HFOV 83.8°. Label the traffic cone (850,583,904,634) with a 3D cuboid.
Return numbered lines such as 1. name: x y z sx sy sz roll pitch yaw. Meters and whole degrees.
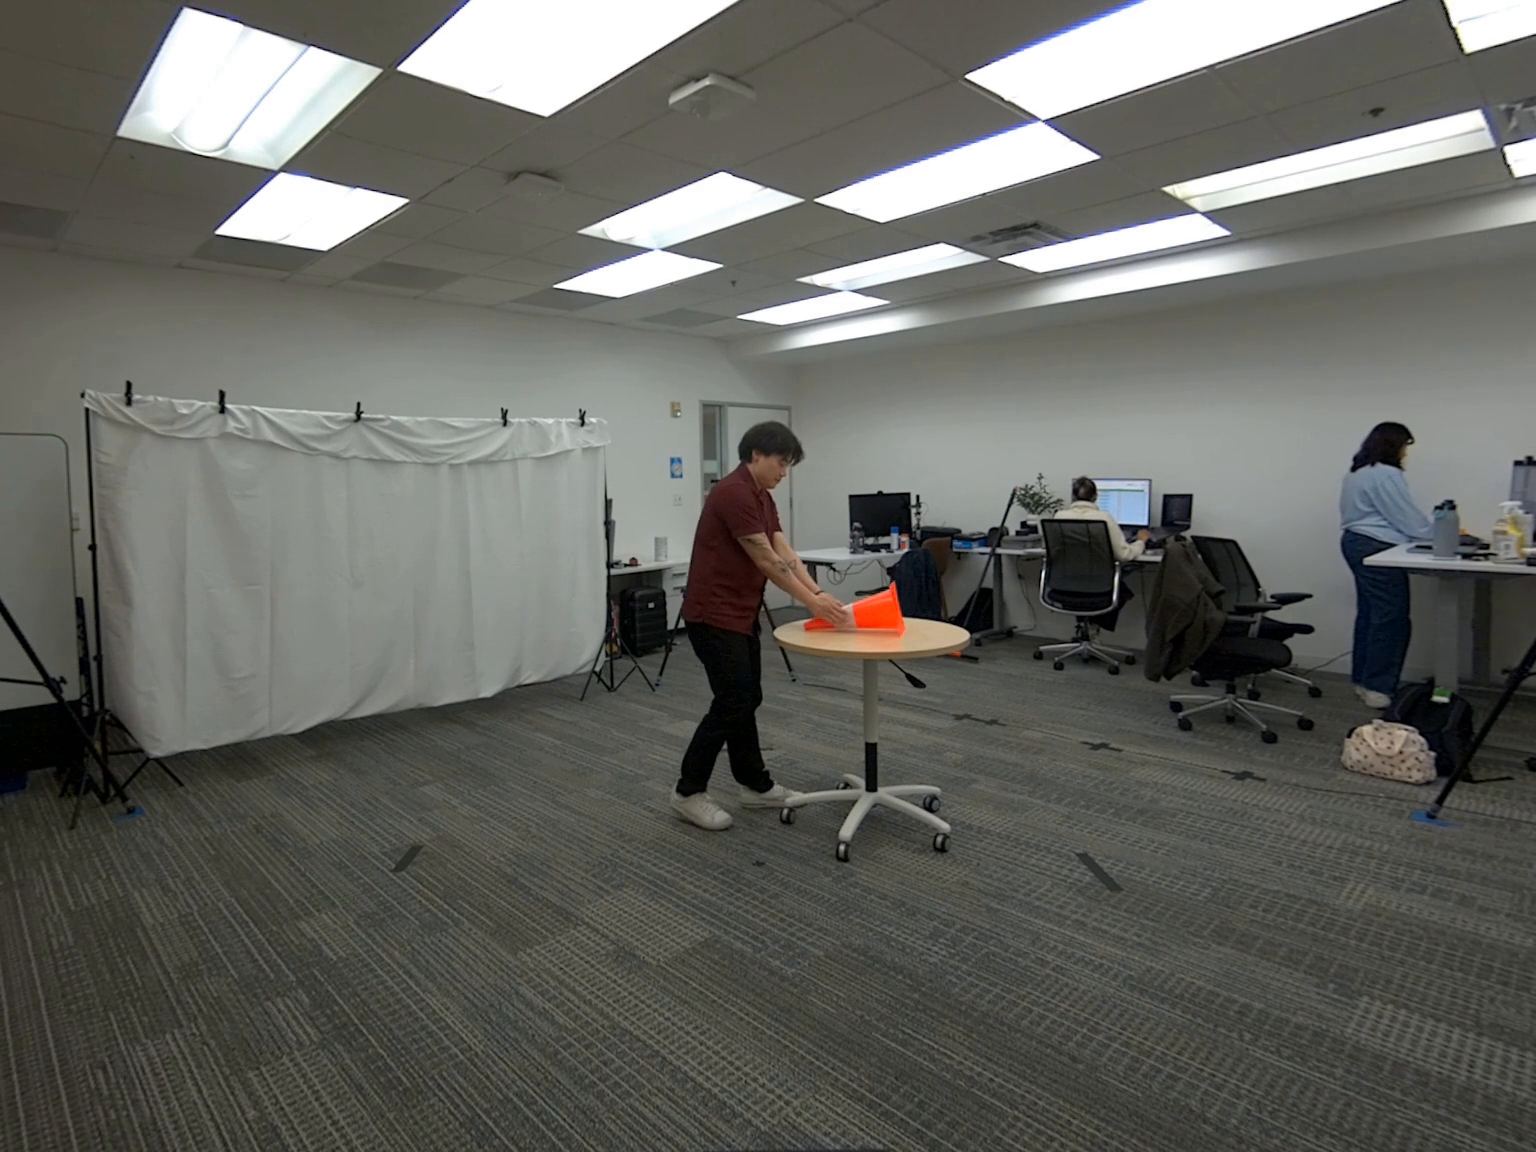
1. traffic cone: 0.325 0.166 3.411 0.386 0.206 0.200 -11 -6 9
